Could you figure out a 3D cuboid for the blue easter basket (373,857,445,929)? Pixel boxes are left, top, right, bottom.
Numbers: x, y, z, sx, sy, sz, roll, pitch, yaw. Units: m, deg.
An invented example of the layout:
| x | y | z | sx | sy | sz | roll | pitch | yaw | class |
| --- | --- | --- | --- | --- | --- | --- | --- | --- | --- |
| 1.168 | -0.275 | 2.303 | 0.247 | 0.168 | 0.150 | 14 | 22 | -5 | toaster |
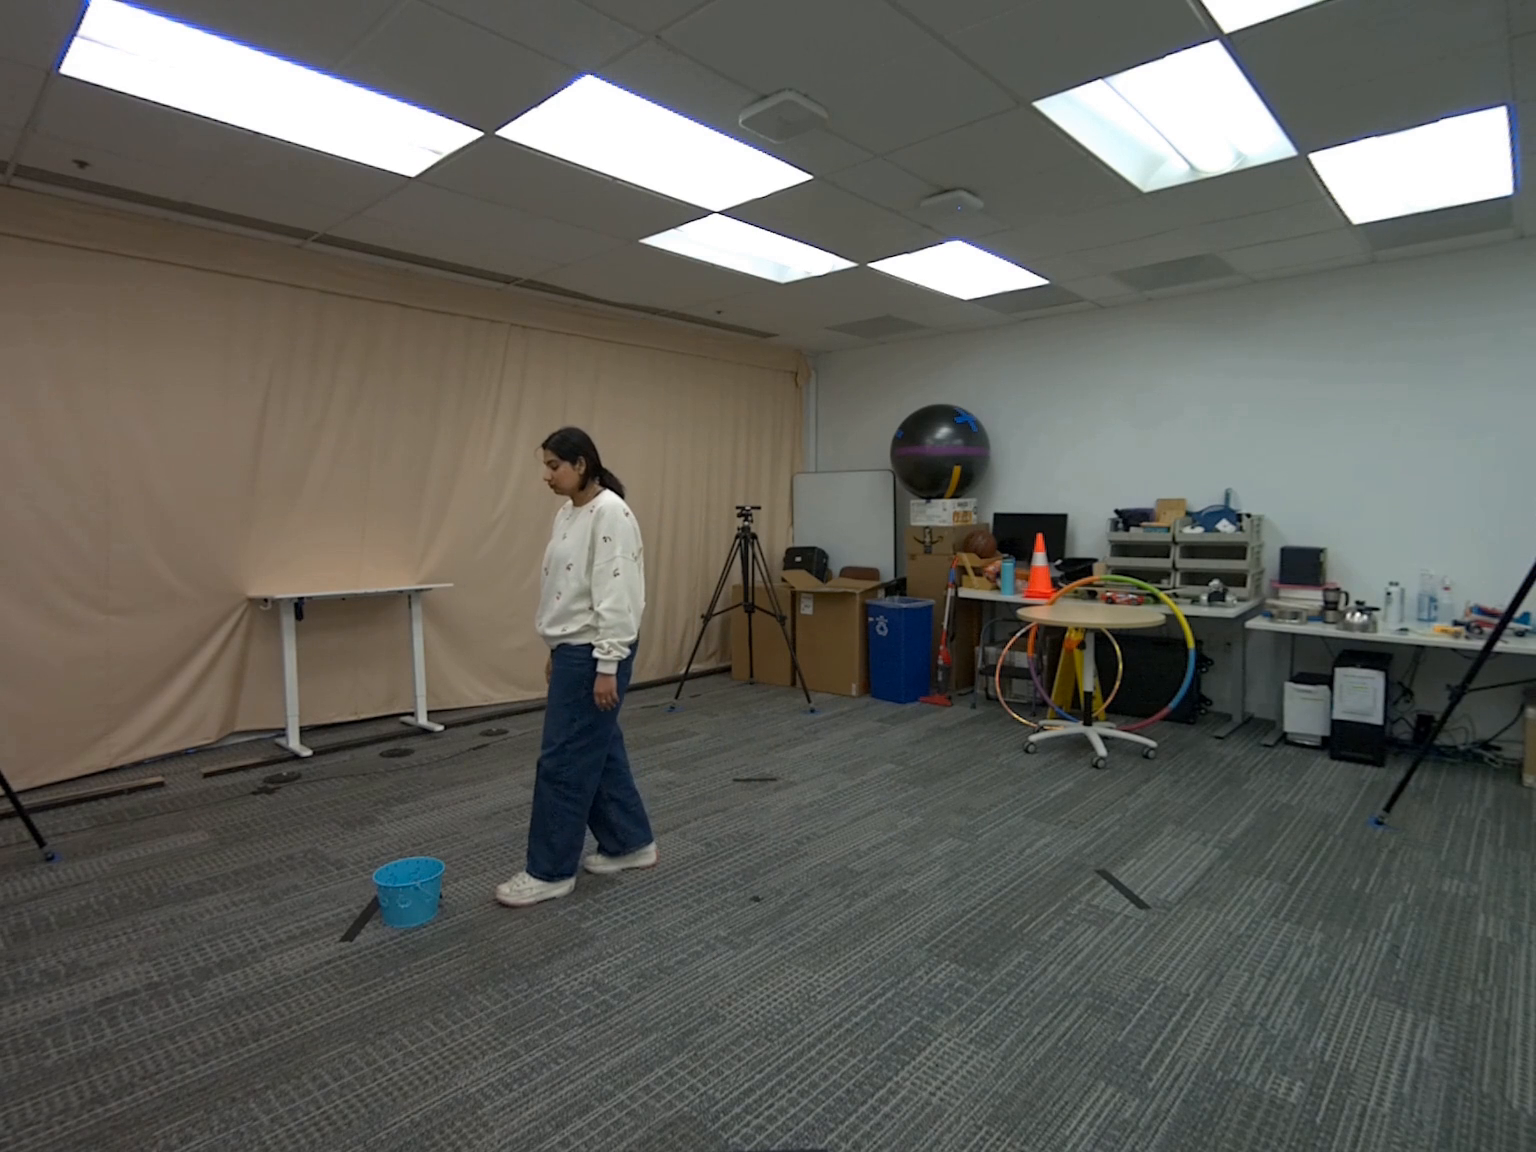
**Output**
| x | y | z | sx | sy | sz | roll | pitch | yaw | class |
| --- | --- | --- | --- | --- | --- | --- | --- | --- | --- |
| -1.225 | 1.085 | 2.879 | 0.243 | 0.155 | 0.244 | 0 | 4 | -2 | blue easter basket |
